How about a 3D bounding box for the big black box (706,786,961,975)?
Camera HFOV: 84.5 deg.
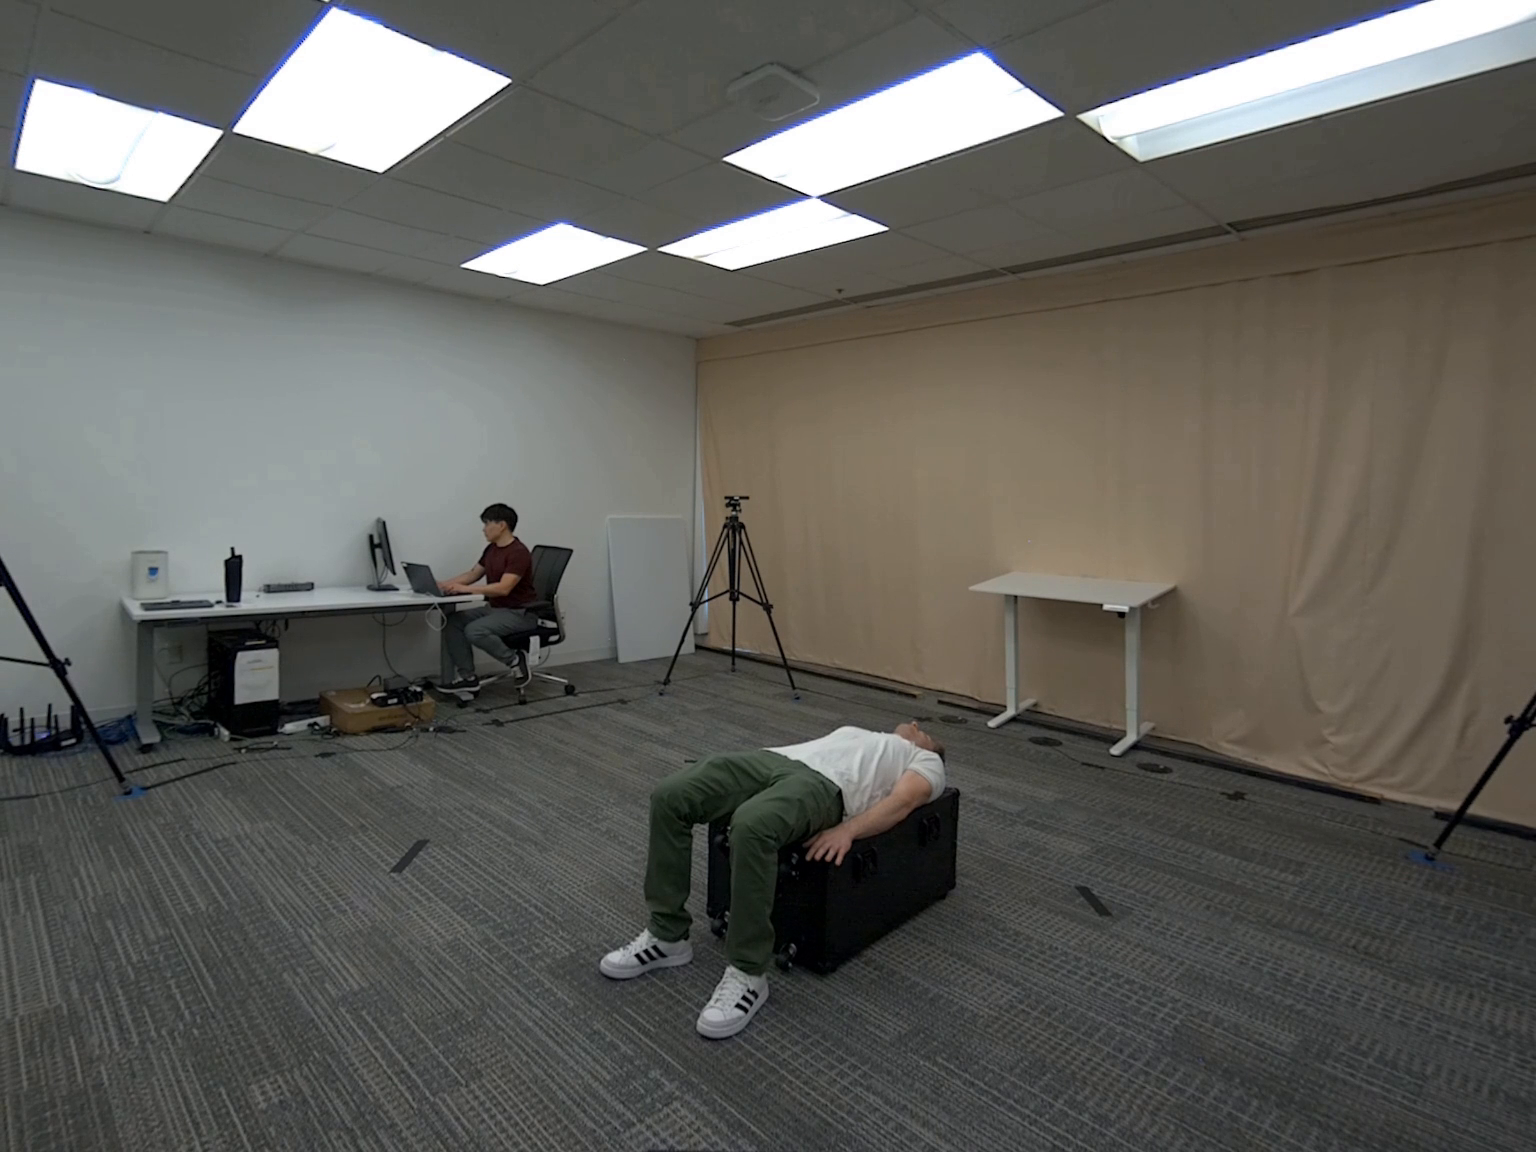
[{"bbox_3d":[0.205,0.949,2.843,0.537,0.384,0.849,6,8,42],"label":"big black box"}]
